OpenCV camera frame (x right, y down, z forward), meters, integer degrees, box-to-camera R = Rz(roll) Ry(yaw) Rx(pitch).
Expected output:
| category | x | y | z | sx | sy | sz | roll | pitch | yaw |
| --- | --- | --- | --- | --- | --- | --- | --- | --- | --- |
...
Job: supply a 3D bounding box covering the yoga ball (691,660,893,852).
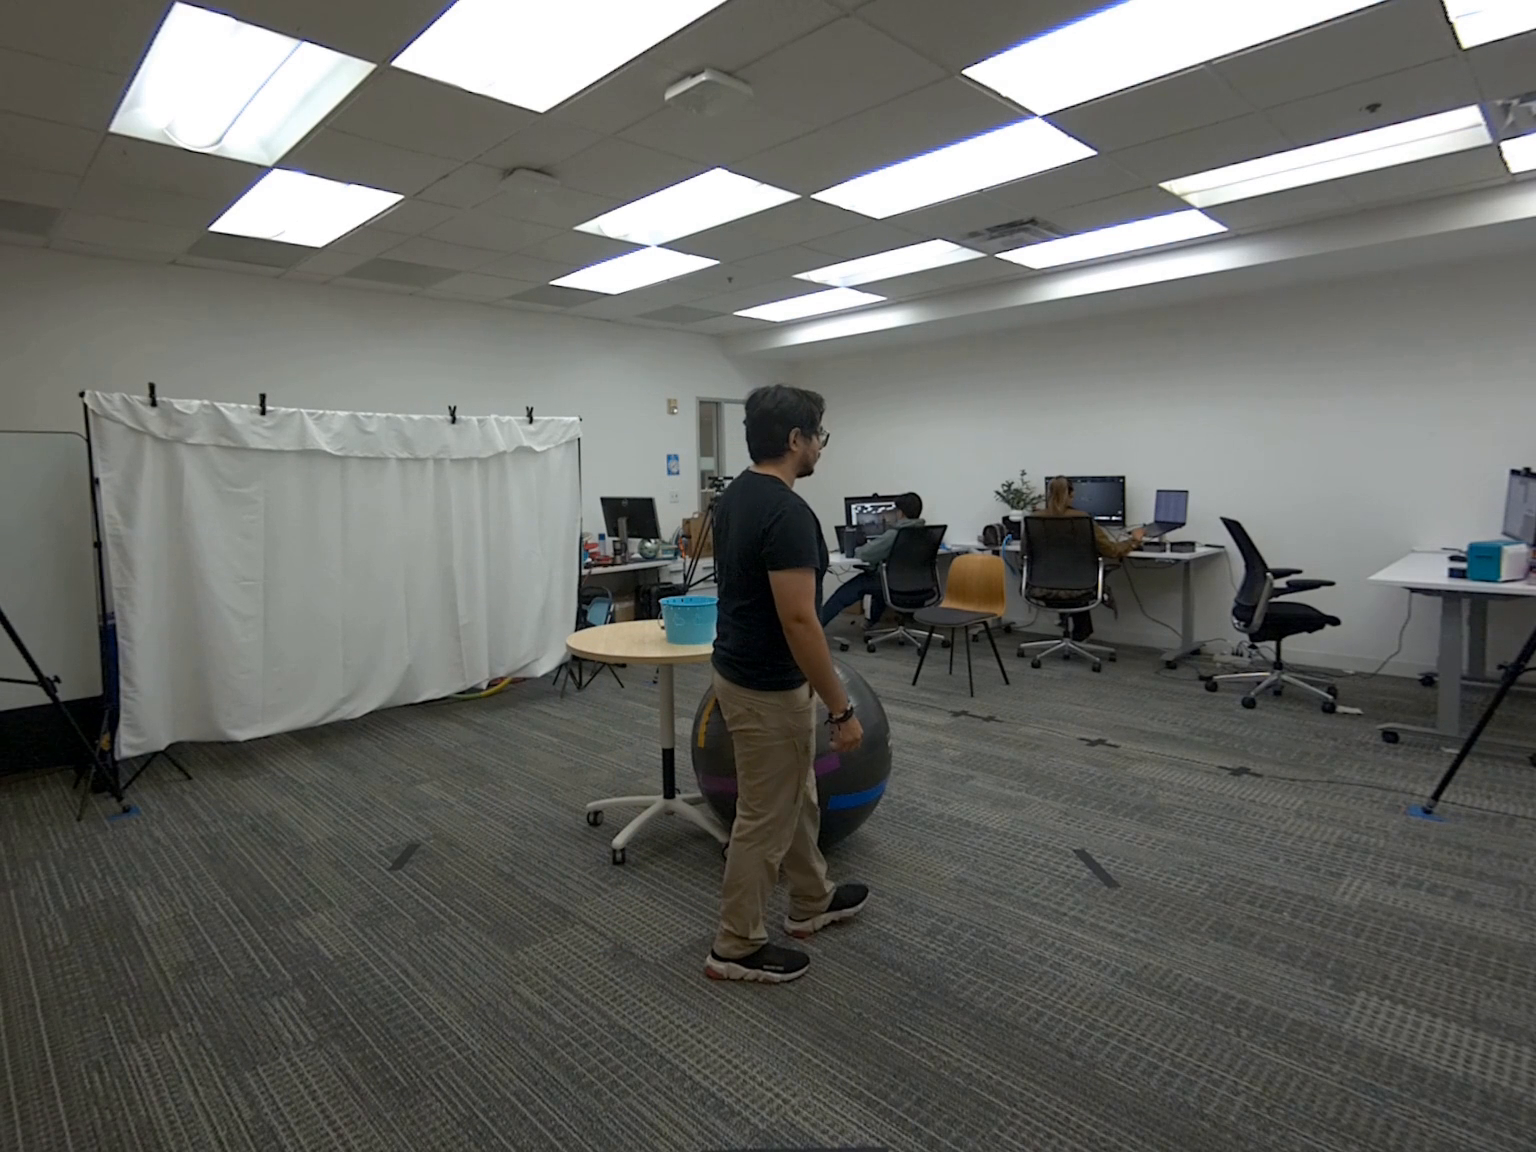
| category | x | y | z | sx | sy | sz | roll | pitch | yaw |
| --- | --- | --- | --- | --- | --- | --- | --- | --- | --- |
| yoga ball | 0.091 | 0.651 | 3.232 | 0.757 | 0.755 | 0.762 | -1 | 5 | -2 |
